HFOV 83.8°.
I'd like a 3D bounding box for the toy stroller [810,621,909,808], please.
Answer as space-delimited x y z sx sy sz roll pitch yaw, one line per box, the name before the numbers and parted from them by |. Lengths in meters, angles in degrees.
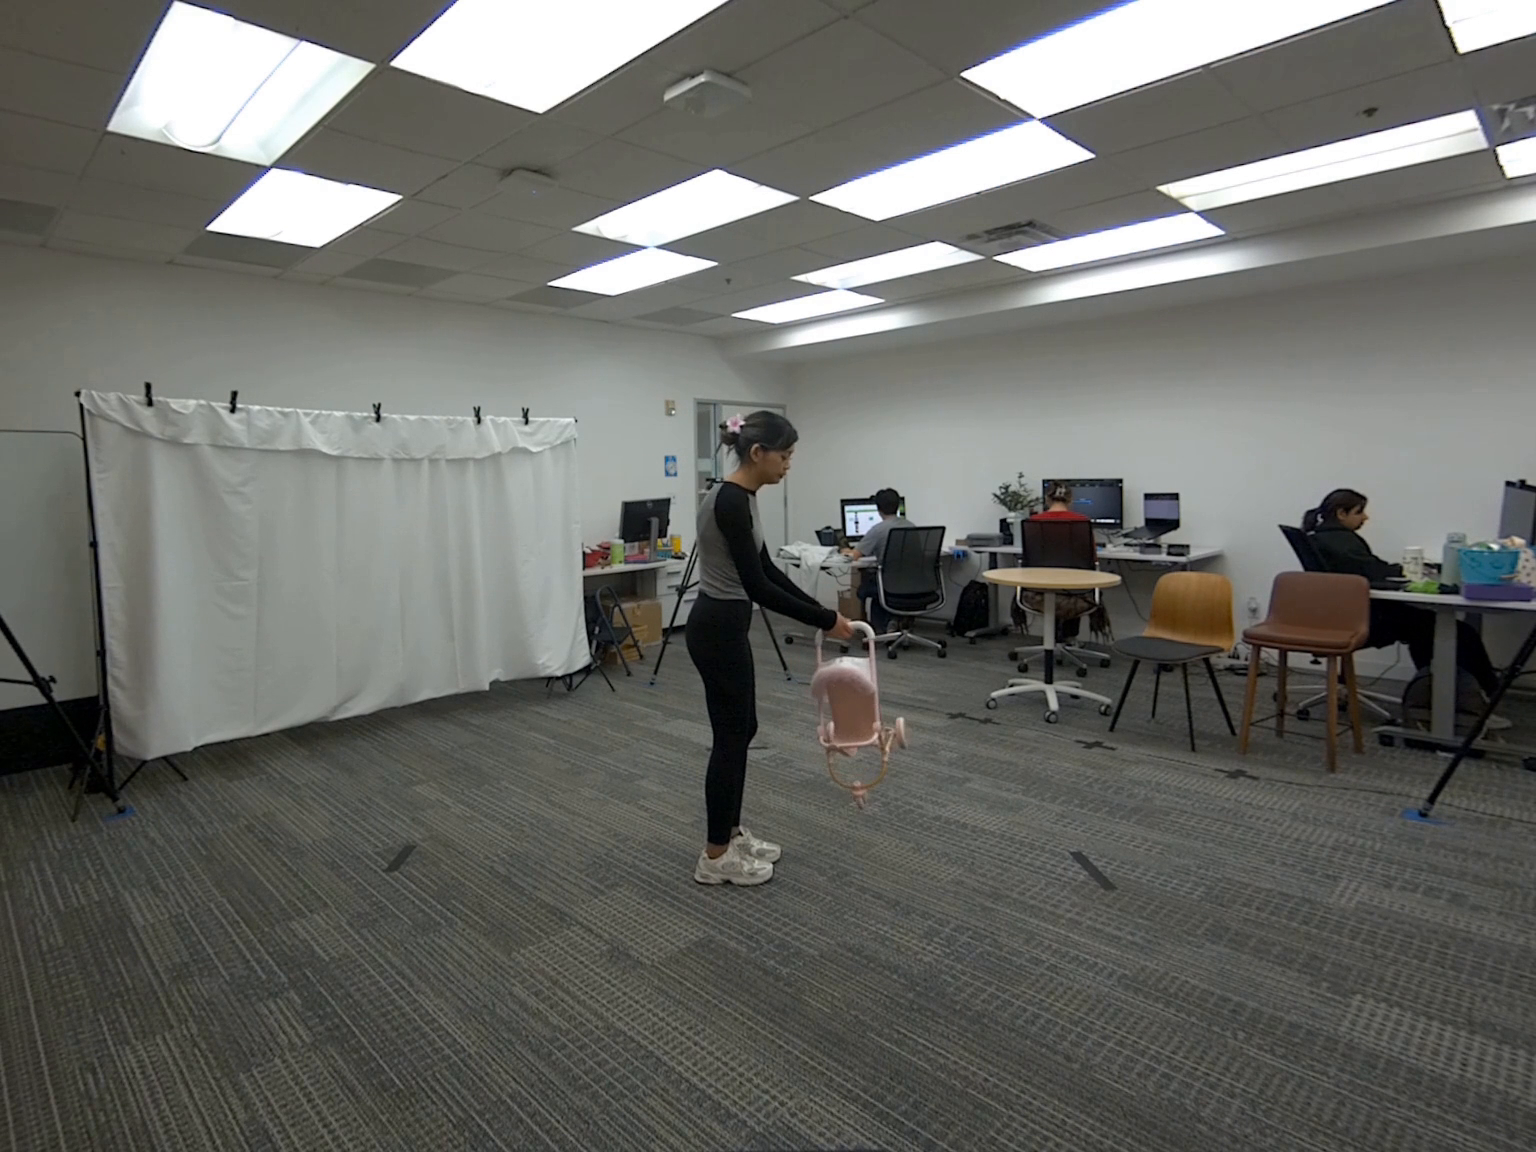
toy stroller | 0.275 0.472 2.878 0.287 0.523 0.342 -7 22 24
